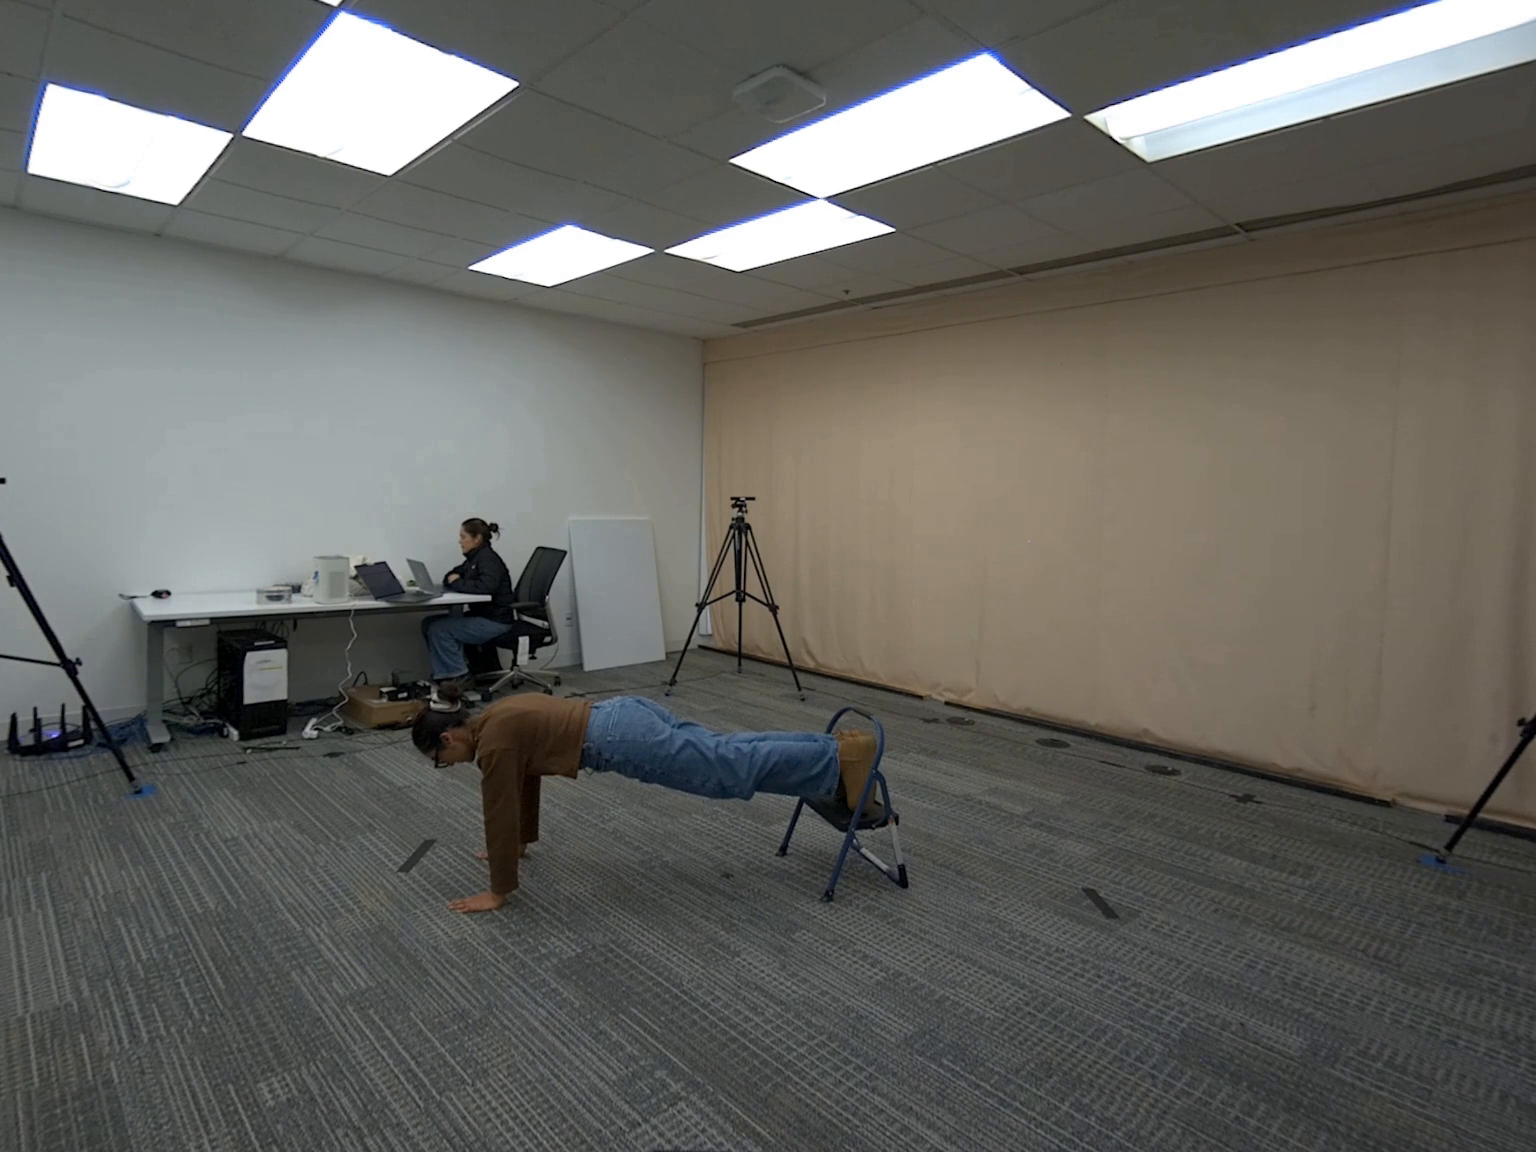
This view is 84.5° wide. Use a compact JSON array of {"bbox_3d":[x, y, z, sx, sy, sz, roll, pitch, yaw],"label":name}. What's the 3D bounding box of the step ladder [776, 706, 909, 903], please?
[{"bbox_3d":[0.274,0.812,3.156,0.343,0.605,0.439,0,4,-23],"label":"step ladder"}]
